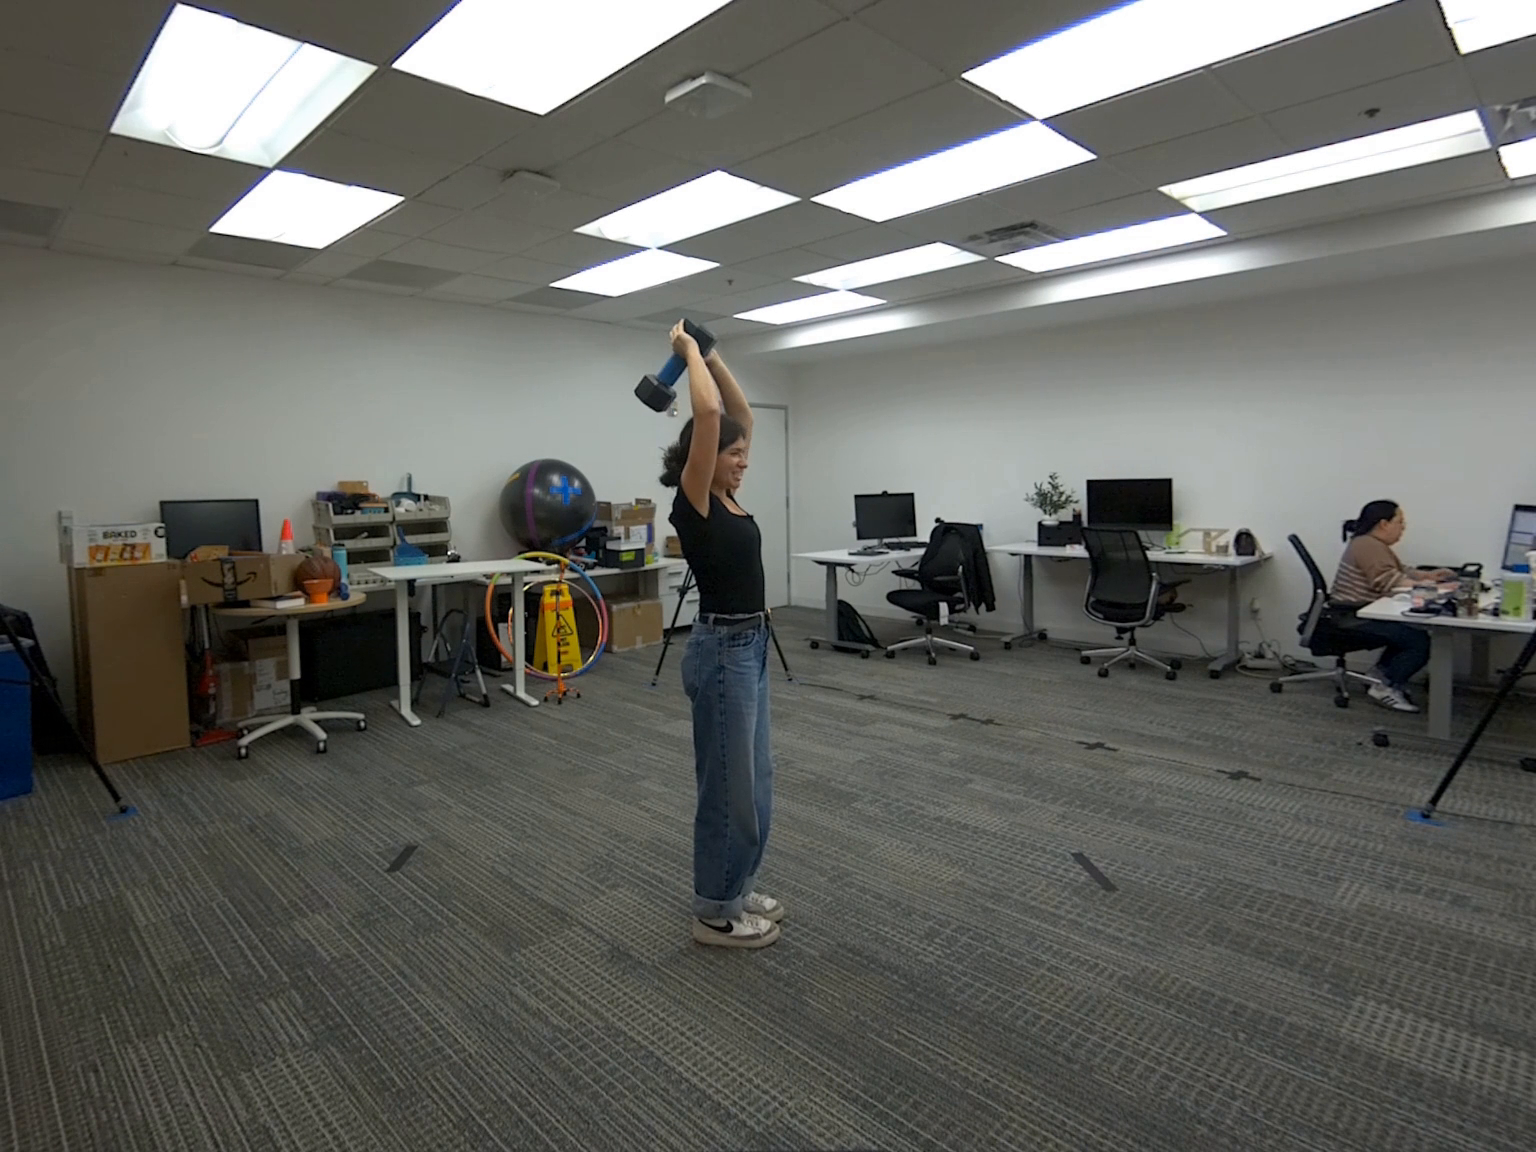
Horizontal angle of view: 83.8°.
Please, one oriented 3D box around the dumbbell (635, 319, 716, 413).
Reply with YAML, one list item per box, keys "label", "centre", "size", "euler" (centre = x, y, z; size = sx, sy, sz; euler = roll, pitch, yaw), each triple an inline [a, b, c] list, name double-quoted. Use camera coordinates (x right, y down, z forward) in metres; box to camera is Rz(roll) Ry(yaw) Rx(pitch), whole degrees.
- label: "dumbbell"
  centre: [-0.279, -0.633, 2.600]
  size: [0.105, 0.293, 0.127]
  euler: [16, 27, -54]
